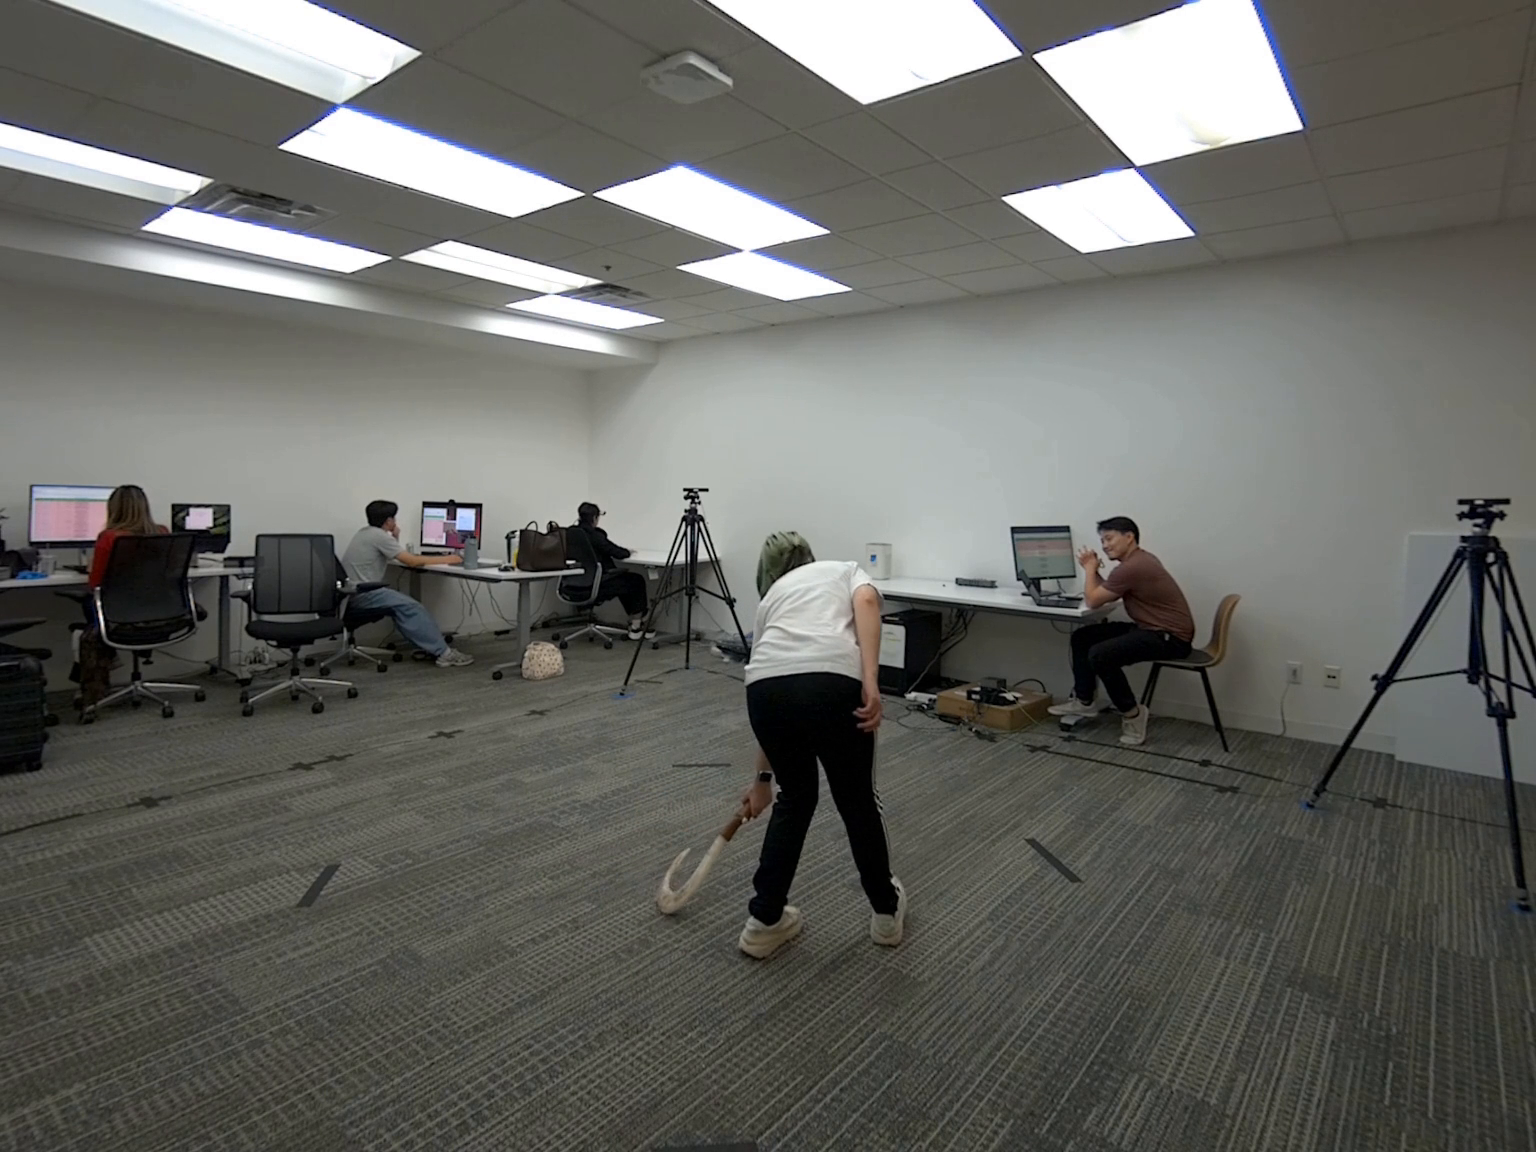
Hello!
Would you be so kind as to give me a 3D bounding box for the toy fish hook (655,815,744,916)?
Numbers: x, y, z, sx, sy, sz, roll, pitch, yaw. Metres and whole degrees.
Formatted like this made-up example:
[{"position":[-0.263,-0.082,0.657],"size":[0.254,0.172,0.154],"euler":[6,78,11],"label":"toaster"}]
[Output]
[{"position":[-0.207,0.904,2.860],"size":[0.047,0.506,0.231],"euler":[47,-13,-22],"label":"toy fish hook"}]
